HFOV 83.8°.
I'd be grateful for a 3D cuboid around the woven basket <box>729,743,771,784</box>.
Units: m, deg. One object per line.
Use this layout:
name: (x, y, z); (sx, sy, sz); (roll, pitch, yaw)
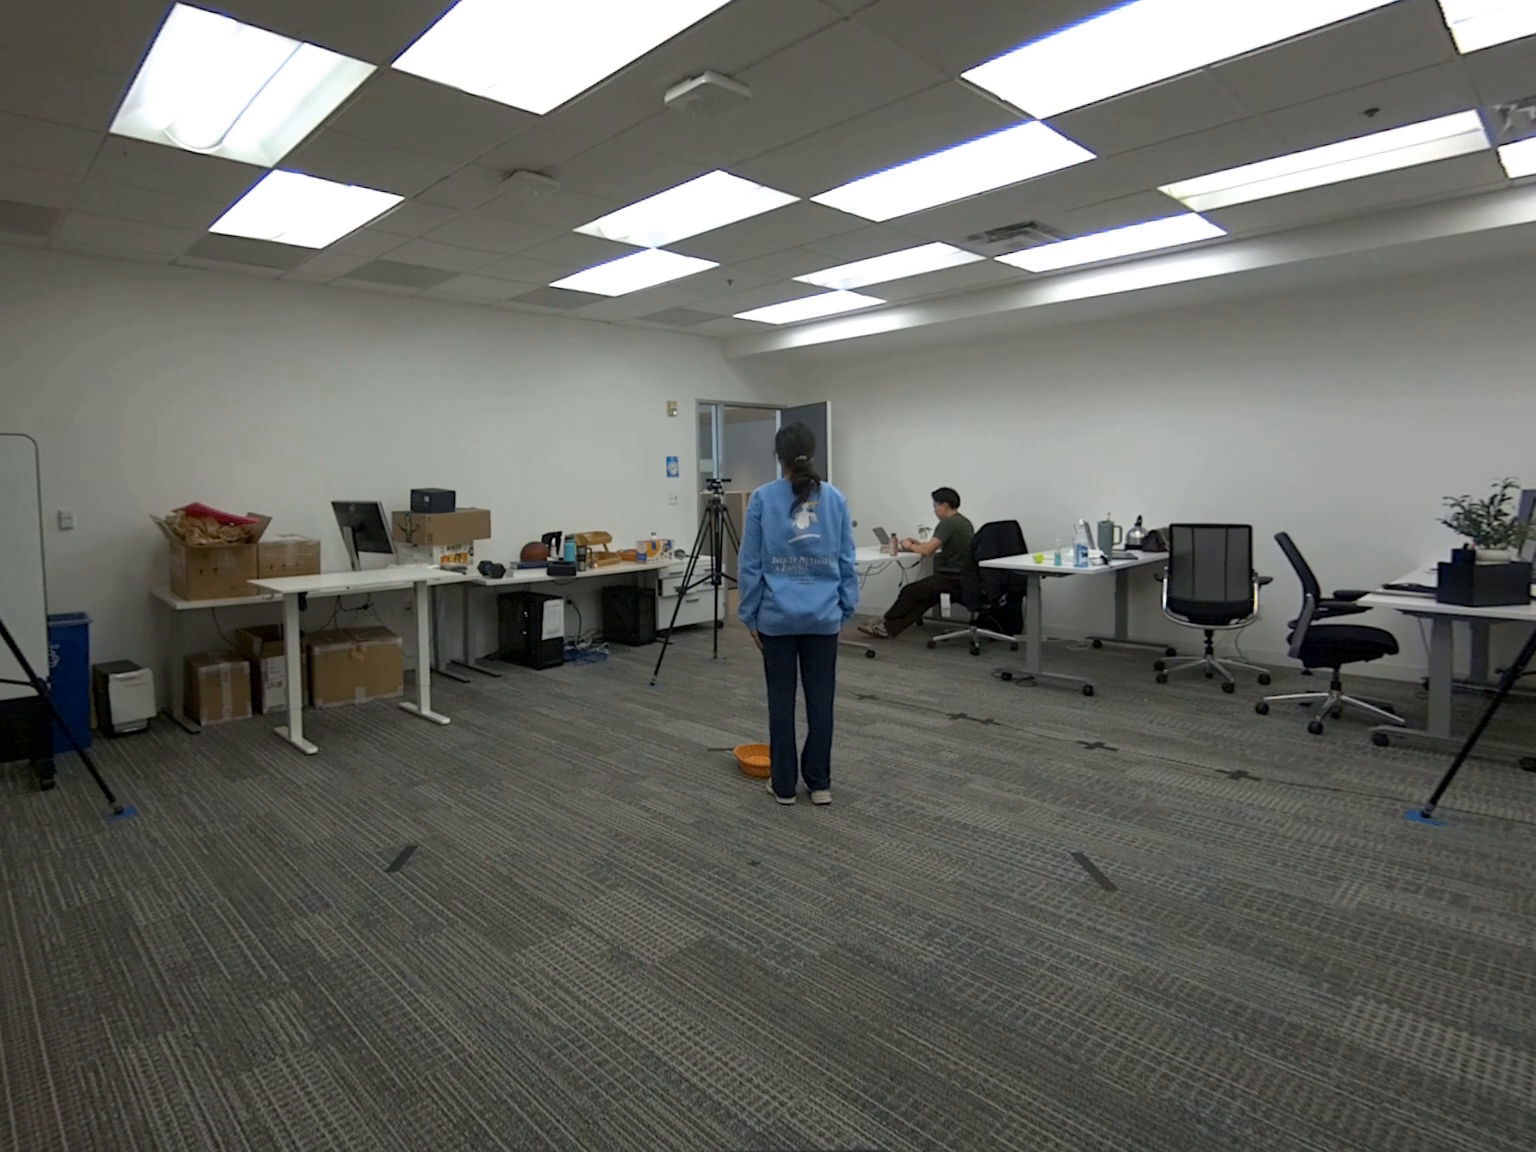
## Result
woven basket: (-0.022, 0.894, 4.133); (0.249, 0.073, 0.356); (-2, 6, -15)
